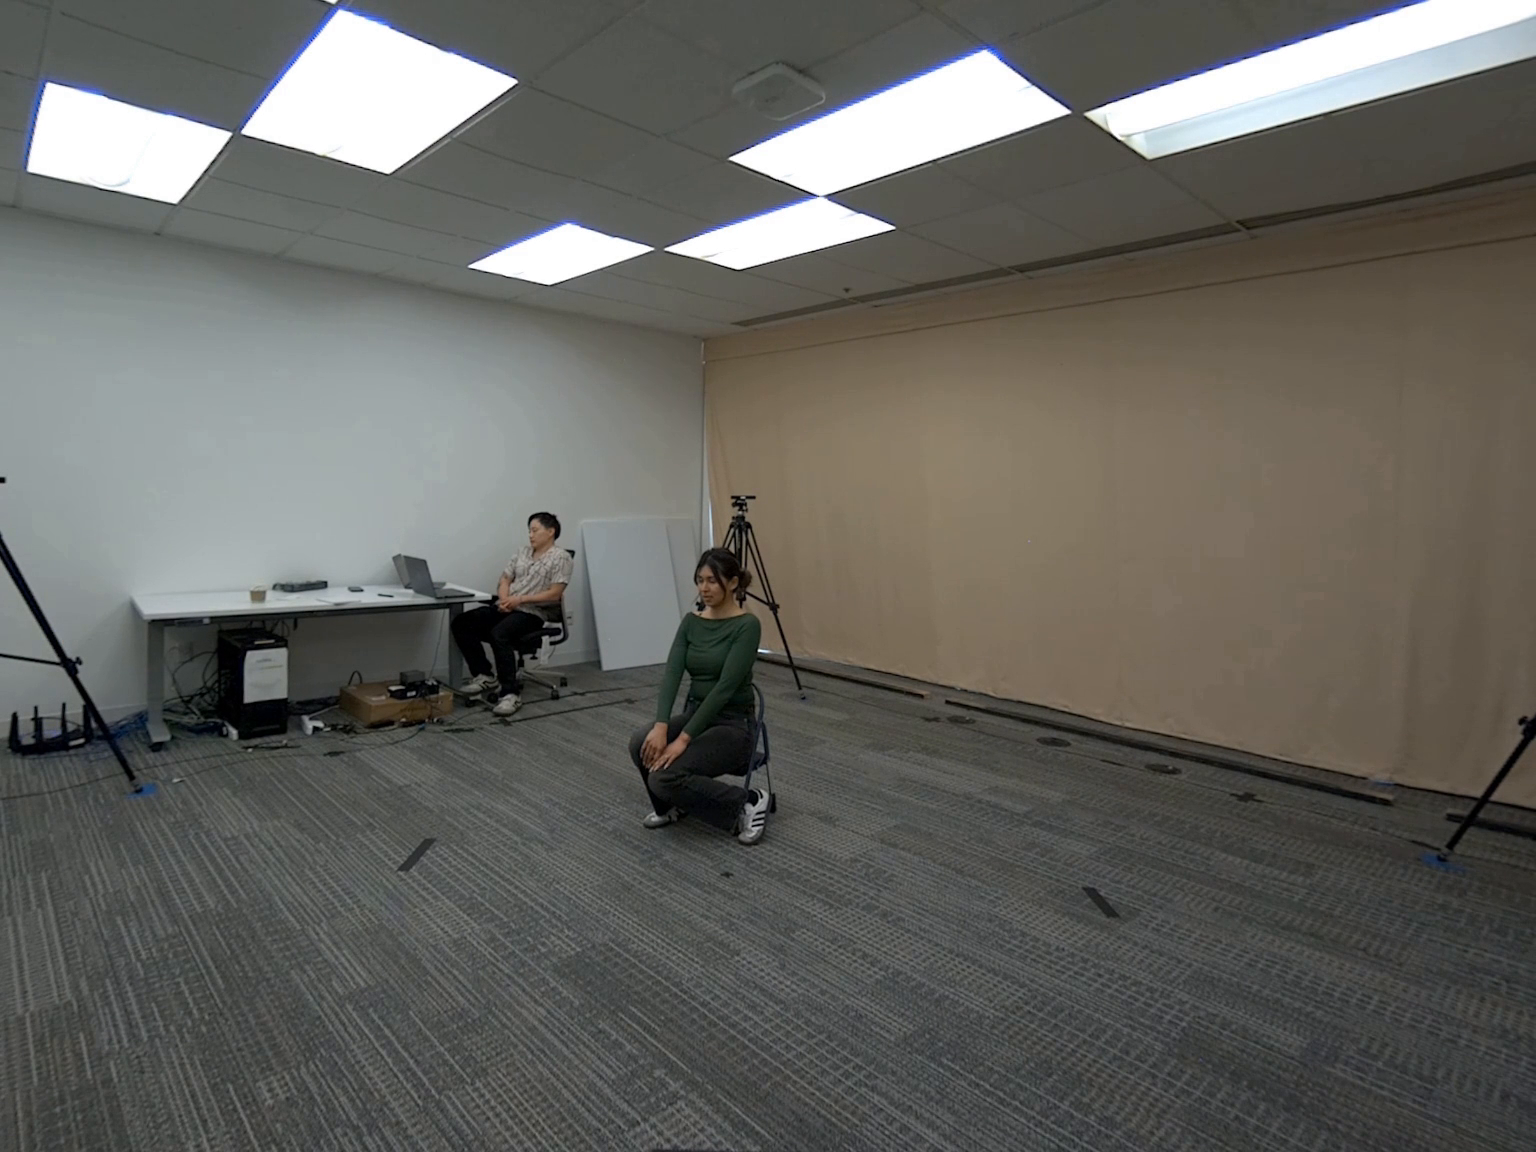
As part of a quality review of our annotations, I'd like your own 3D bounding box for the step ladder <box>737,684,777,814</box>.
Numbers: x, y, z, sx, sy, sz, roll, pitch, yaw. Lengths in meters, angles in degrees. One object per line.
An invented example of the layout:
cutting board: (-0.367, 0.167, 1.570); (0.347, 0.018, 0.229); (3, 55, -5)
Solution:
step ladder: (-0.218, 0.753, 3.703); (0.440, 0.605, 0.342); (4, 3, 31)
